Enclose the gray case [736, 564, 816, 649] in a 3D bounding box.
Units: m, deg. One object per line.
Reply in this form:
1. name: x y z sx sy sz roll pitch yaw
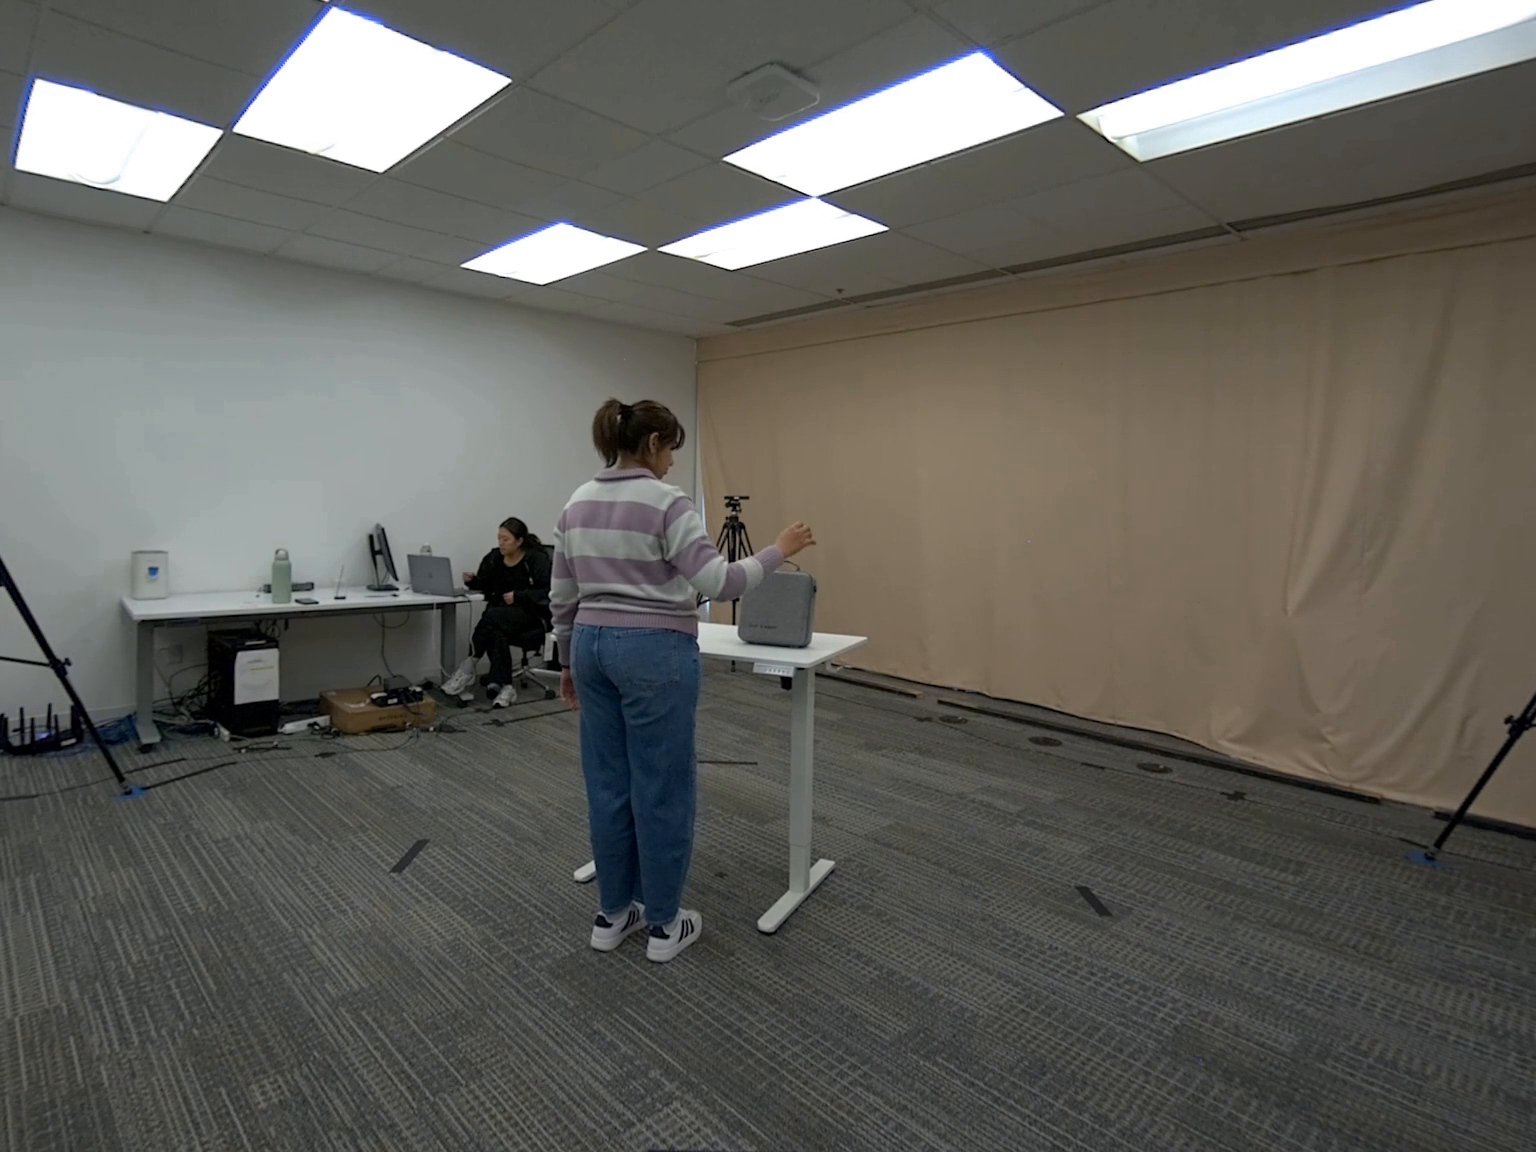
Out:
1. gray case: 0.023 0.109 2.920 0.262 0.262 0.102 4 -8 25
